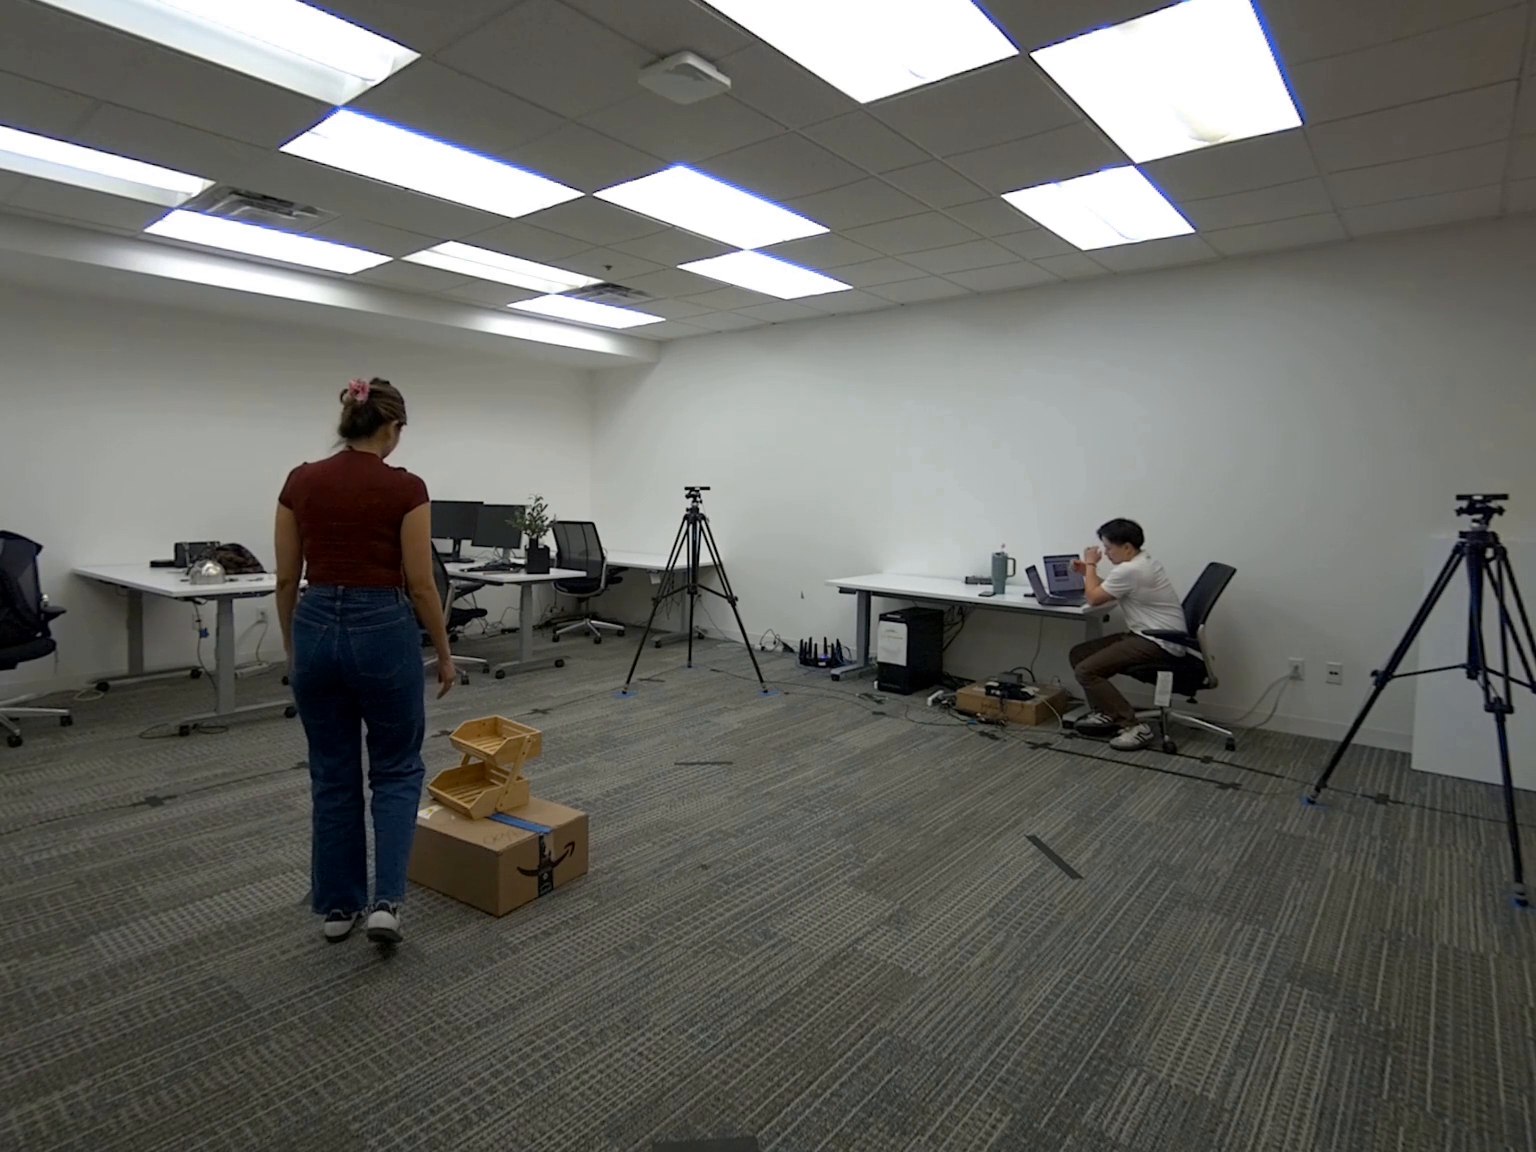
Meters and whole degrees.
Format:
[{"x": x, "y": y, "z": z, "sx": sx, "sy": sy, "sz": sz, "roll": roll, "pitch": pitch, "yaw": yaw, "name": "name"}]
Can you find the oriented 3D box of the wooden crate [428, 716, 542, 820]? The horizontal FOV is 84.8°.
[{"x": -1.074, "y": 0.701, "z": 3.174, "sx": 0.336, "sy": 0.272, "sz": 0.293, "roll": 6, "pitch": 6, "yaw": 40, "name": "wooden crate"}]
